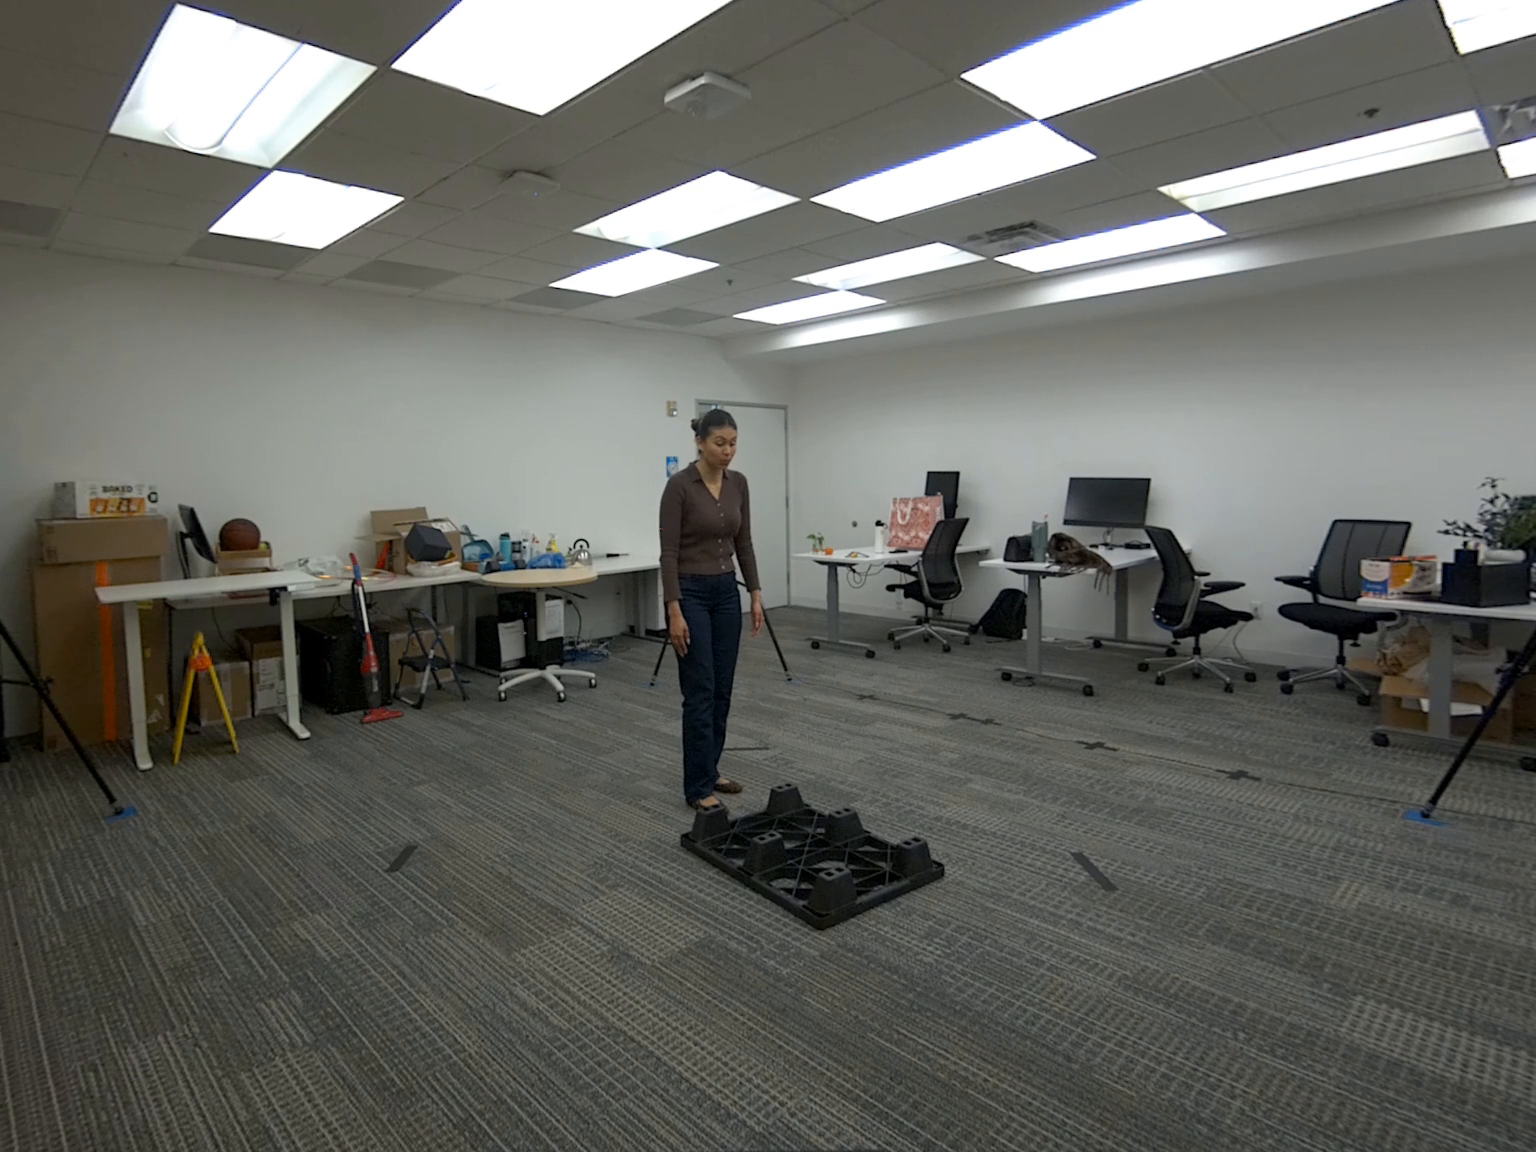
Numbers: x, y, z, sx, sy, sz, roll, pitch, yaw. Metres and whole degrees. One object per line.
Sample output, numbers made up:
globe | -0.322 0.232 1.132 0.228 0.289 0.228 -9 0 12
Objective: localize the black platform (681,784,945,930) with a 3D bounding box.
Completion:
black platform | 0.136 0.972 3.121 0.589 0.143 0.830 -5 7 -38
